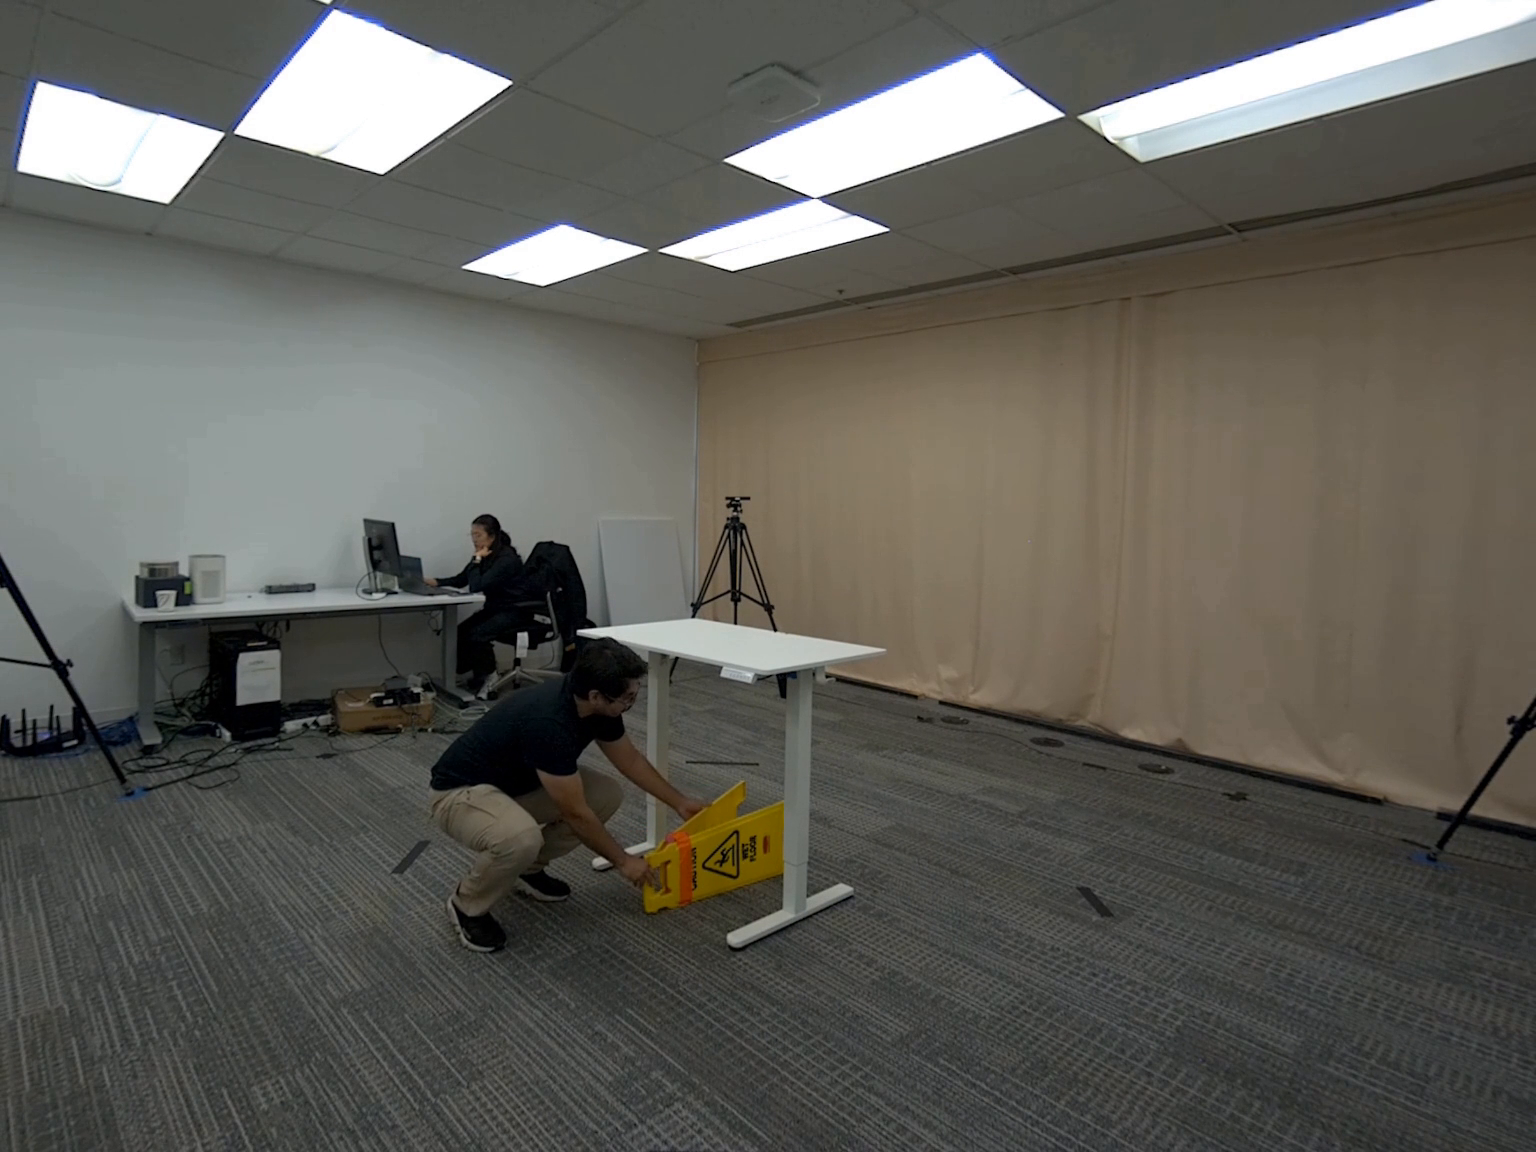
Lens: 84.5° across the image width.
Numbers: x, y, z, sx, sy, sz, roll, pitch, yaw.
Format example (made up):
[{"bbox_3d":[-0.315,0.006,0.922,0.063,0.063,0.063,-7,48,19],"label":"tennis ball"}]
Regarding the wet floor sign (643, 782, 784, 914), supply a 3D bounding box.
[{"bbox_3d":[-0.199,0.989,3.016,0.297,0.281,0.633,4,9,41],"label":"wet floor sign"}]
